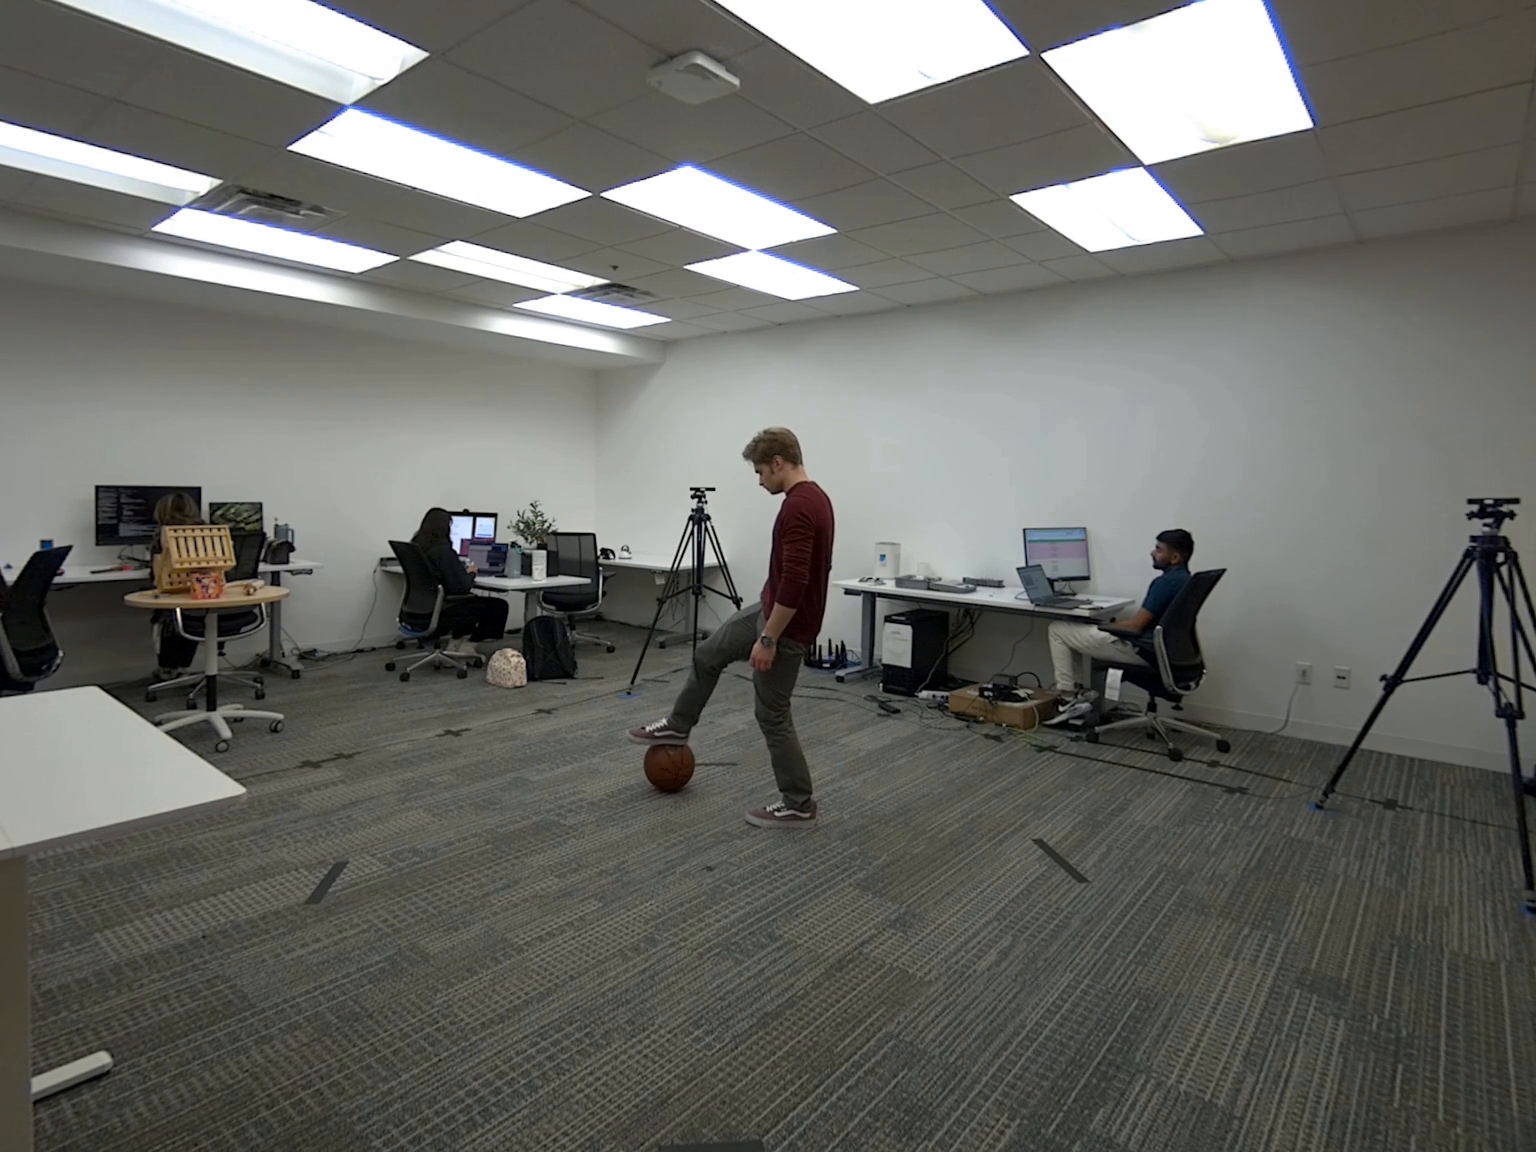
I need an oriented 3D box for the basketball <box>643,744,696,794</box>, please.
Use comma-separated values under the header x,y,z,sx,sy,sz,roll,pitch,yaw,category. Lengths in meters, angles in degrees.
x,y,z,sx,sy,sz,roll,pitch,yaw,category
-0.467,0.862,3.927,0.235,0.235,0.237,1,4,-2,basketball
